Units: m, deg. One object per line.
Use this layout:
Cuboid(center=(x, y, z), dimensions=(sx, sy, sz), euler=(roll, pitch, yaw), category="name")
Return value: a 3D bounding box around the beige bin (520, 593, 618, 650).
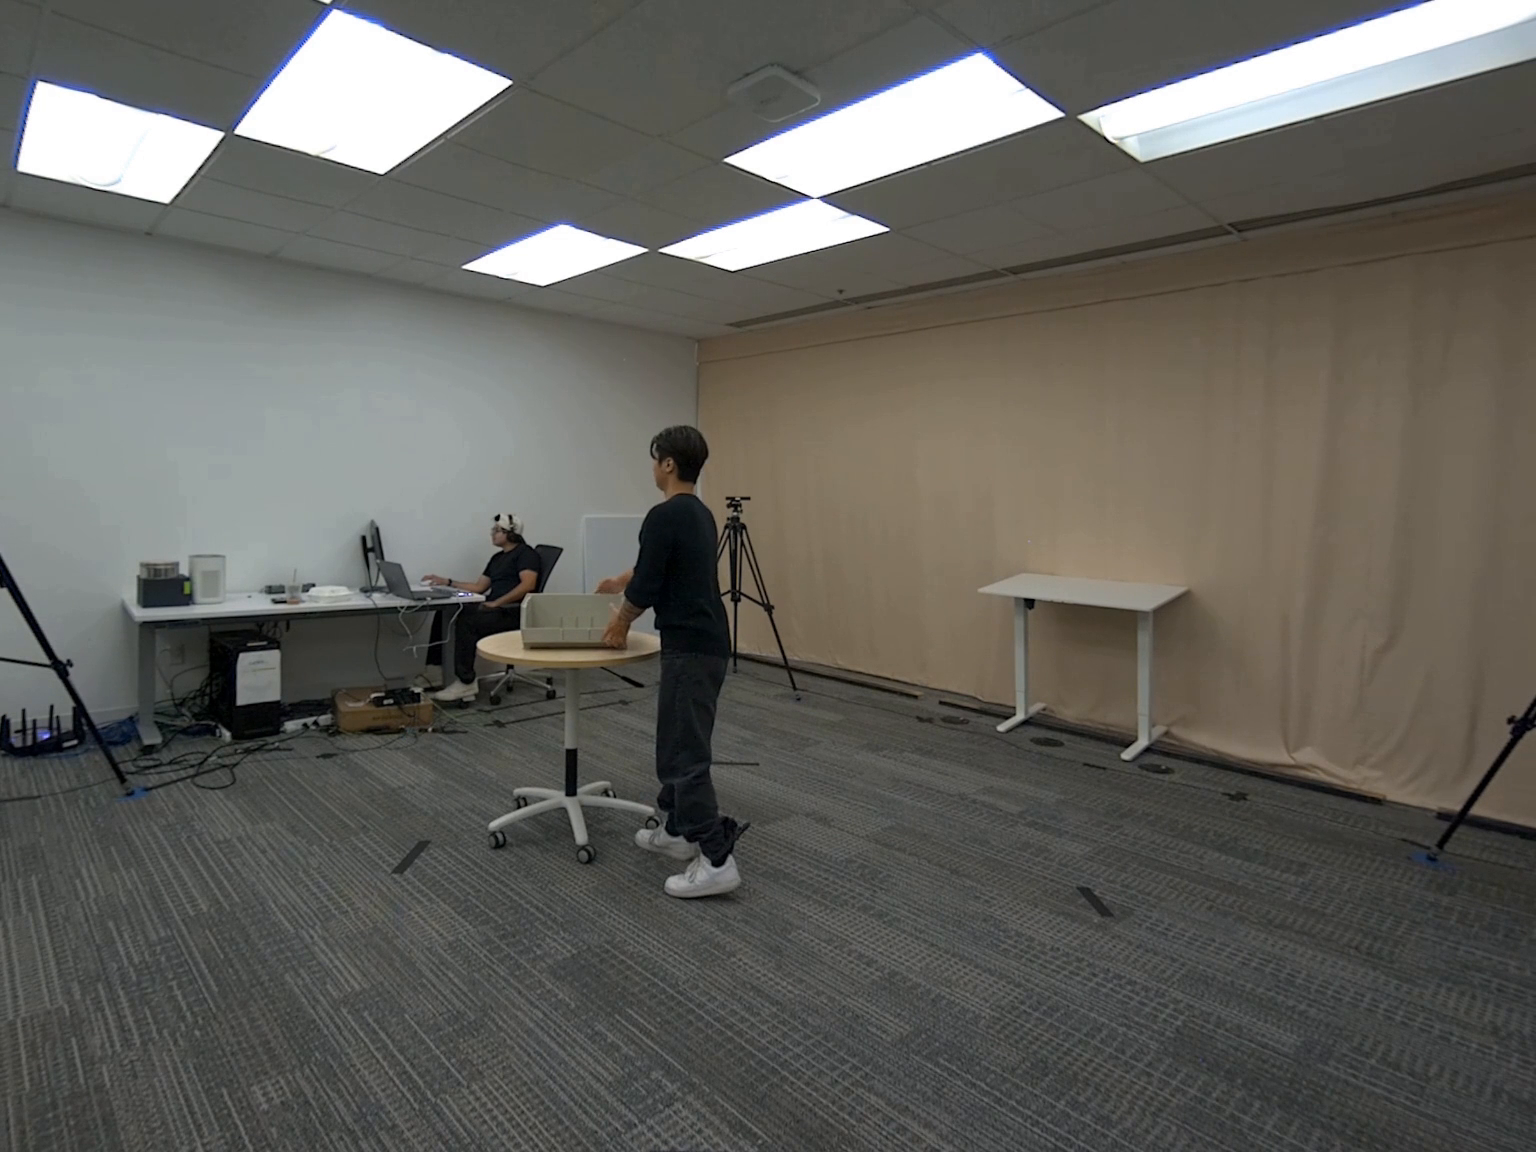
Cuboid(center=(-0.794, 0.188, 3.463), dimensions=(0.419, 0.188, 0.382), euler=(0, 5, -11), category="beige bin")
